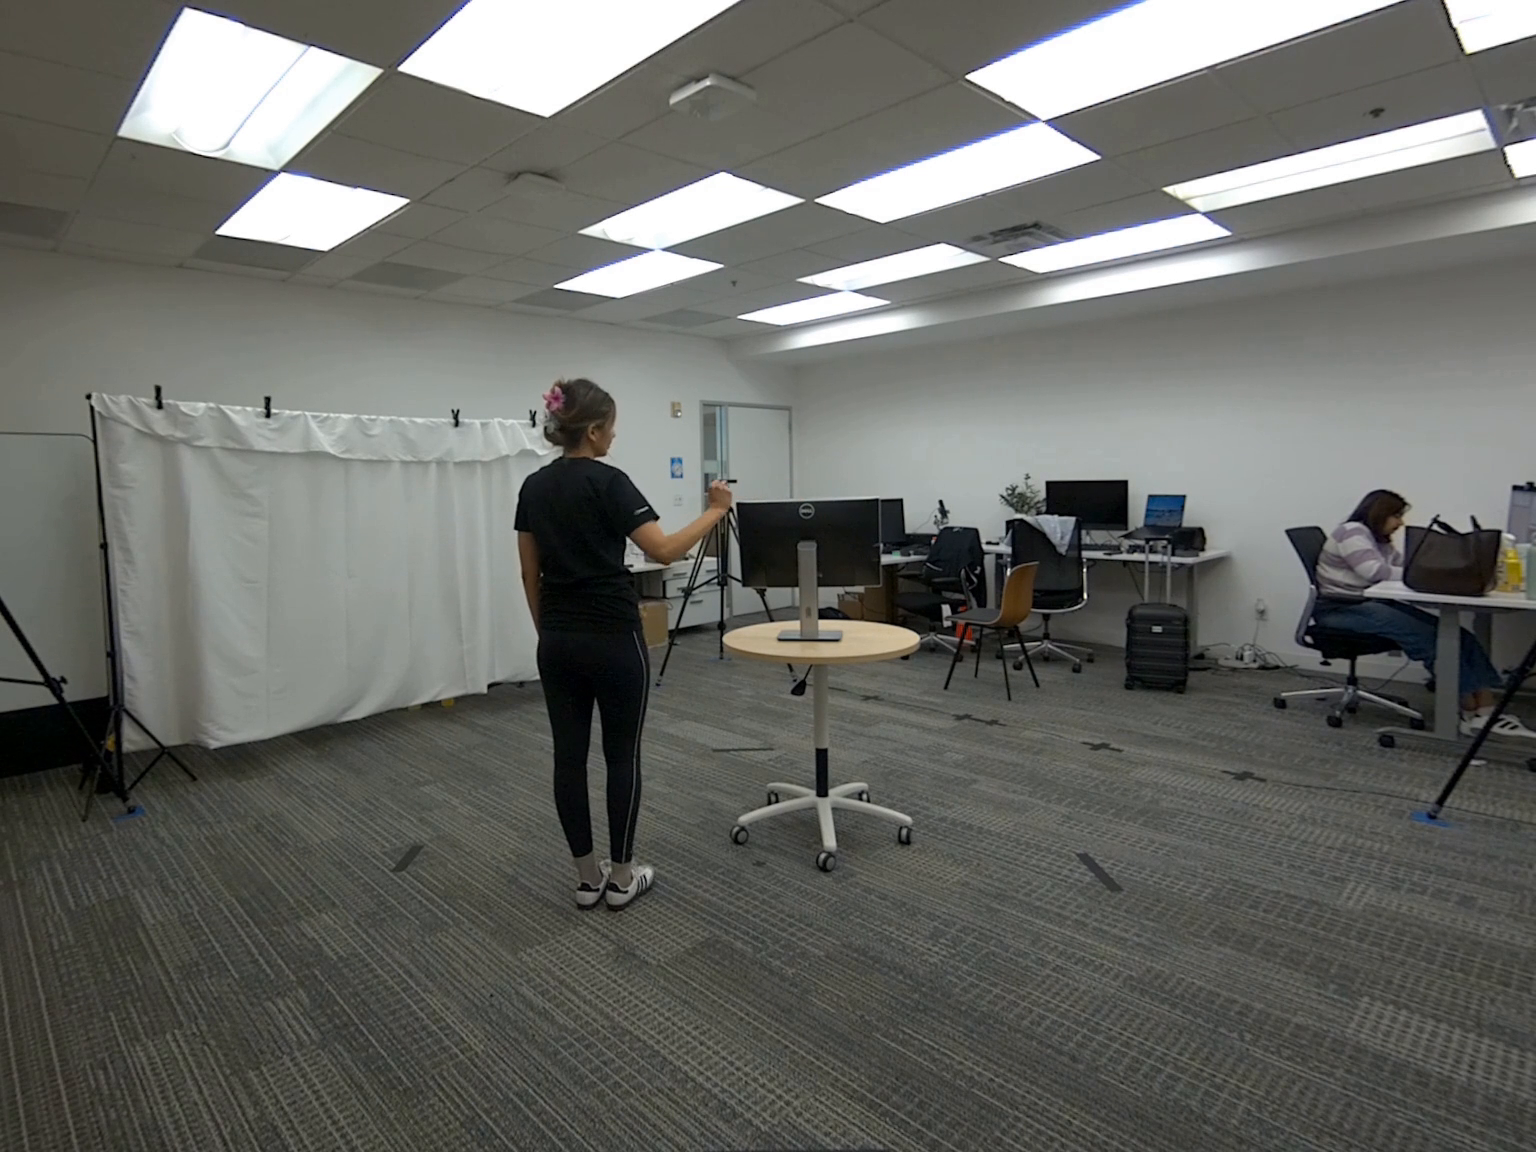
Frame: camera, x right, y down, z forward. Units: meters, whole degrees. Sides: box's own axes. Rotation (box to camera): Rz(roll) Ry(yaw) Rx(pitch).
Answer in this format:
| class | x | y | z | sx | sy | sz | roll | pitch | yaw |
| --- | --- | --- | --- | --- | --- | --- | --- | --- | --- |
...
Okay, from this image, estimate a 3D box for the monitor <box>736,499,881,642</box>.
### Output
| class | x | y | z | sx | sy | sz | roll | pitch | yaw |
| --- | --- | --- | --- | --- | --- | --- | --- | --- | --- |
| monitor | 0.156 | -0.023 | 3.329 | 0.543 | 0.521 | 0.186 | -1 | 4 | 8 |
